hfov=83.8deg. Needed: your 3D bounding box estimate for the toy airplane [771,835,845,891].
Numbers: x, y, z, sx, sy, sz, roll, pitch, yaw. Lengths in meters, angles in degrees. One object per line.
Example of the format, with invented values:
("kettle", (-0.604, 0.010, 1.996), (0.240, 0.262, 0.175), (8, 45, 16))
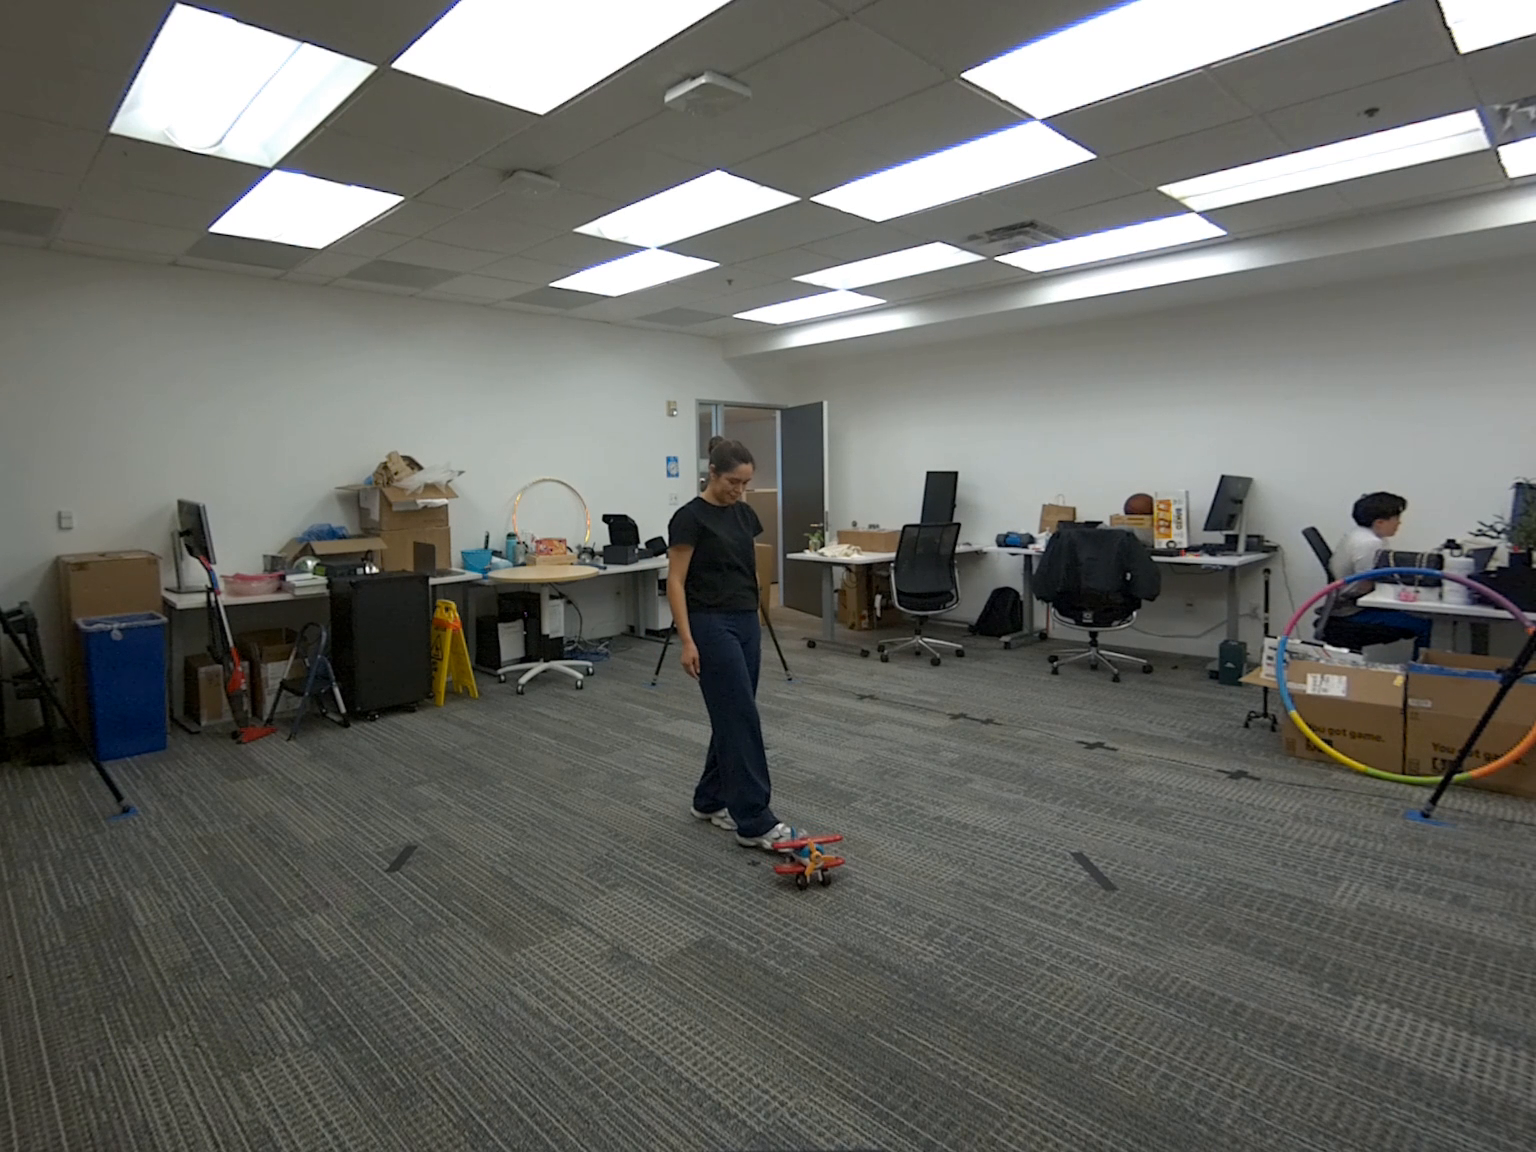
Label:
("toy airplane", (0.119, 0.979, 3.000), (0.267, 0.155, 0.245), (5, 9, 44))
